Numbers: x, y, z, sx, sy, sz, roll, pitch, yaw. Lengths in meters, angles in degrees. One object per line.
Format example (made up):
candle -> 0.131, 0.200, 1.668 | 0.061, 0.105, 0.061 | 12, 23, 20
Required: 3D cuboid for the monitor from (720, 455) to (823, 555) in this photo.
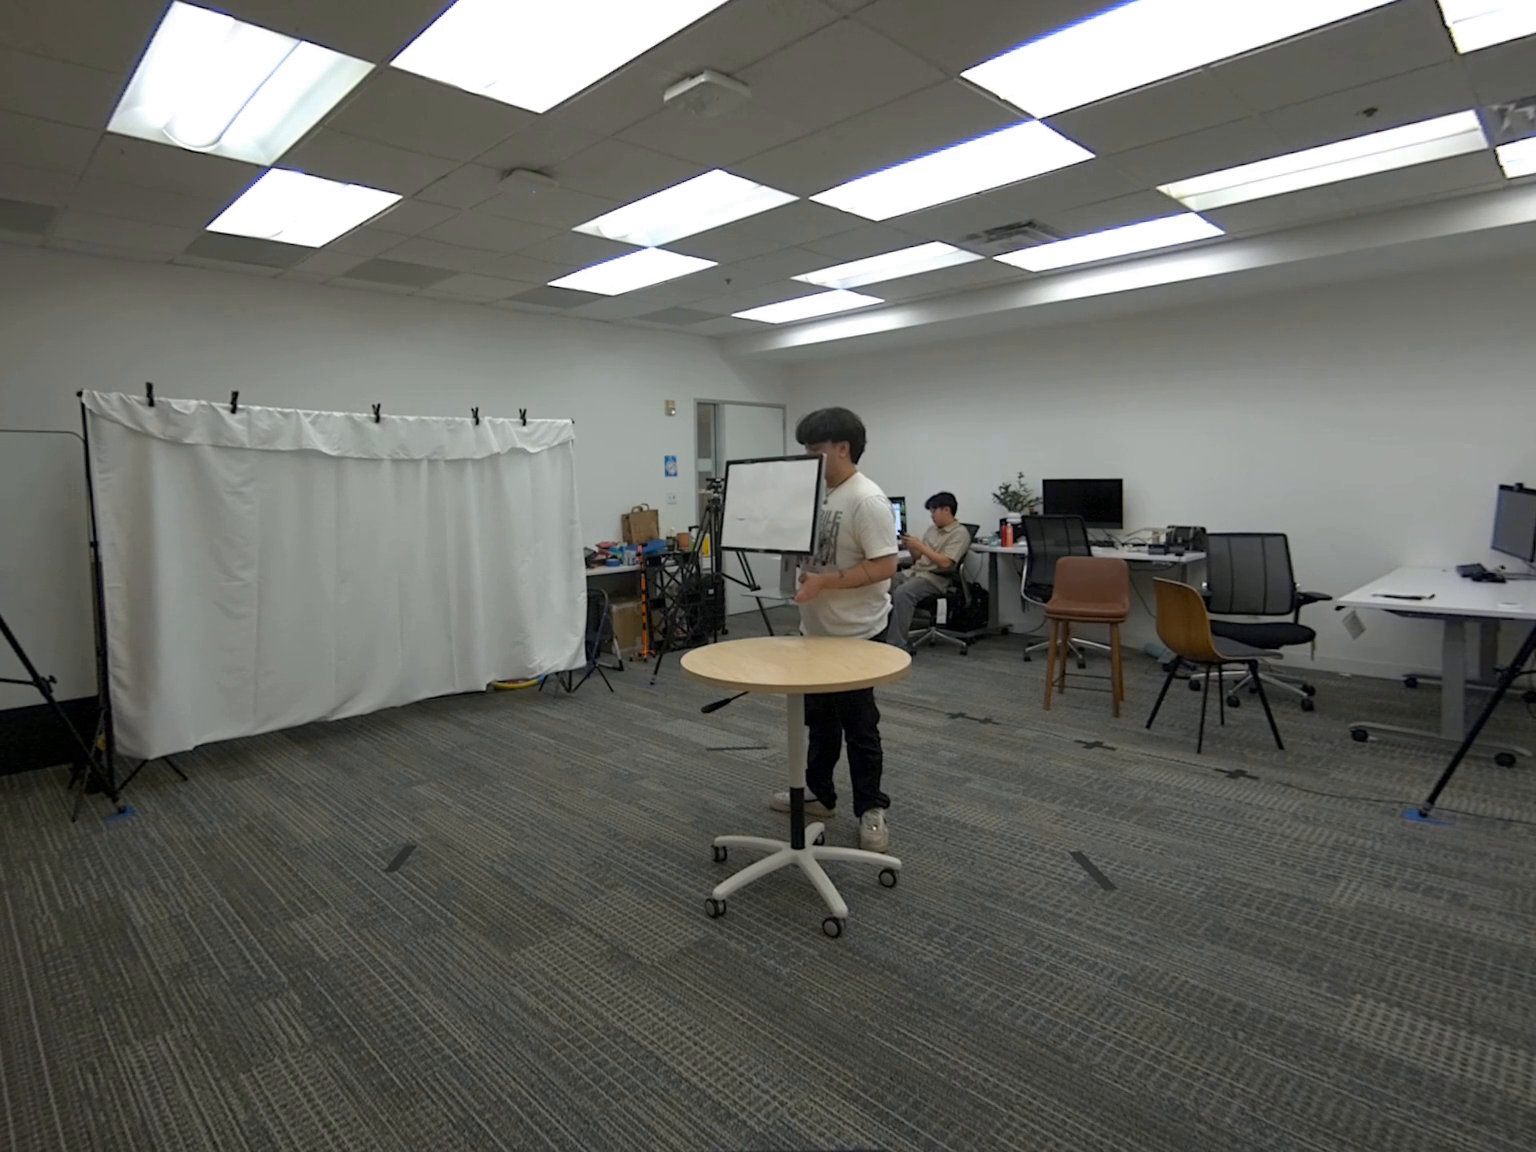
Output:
monitor -> 0.057, -0.182, 3.256 | 0.204, 0.554, 0.582 | 0, 2, -39
